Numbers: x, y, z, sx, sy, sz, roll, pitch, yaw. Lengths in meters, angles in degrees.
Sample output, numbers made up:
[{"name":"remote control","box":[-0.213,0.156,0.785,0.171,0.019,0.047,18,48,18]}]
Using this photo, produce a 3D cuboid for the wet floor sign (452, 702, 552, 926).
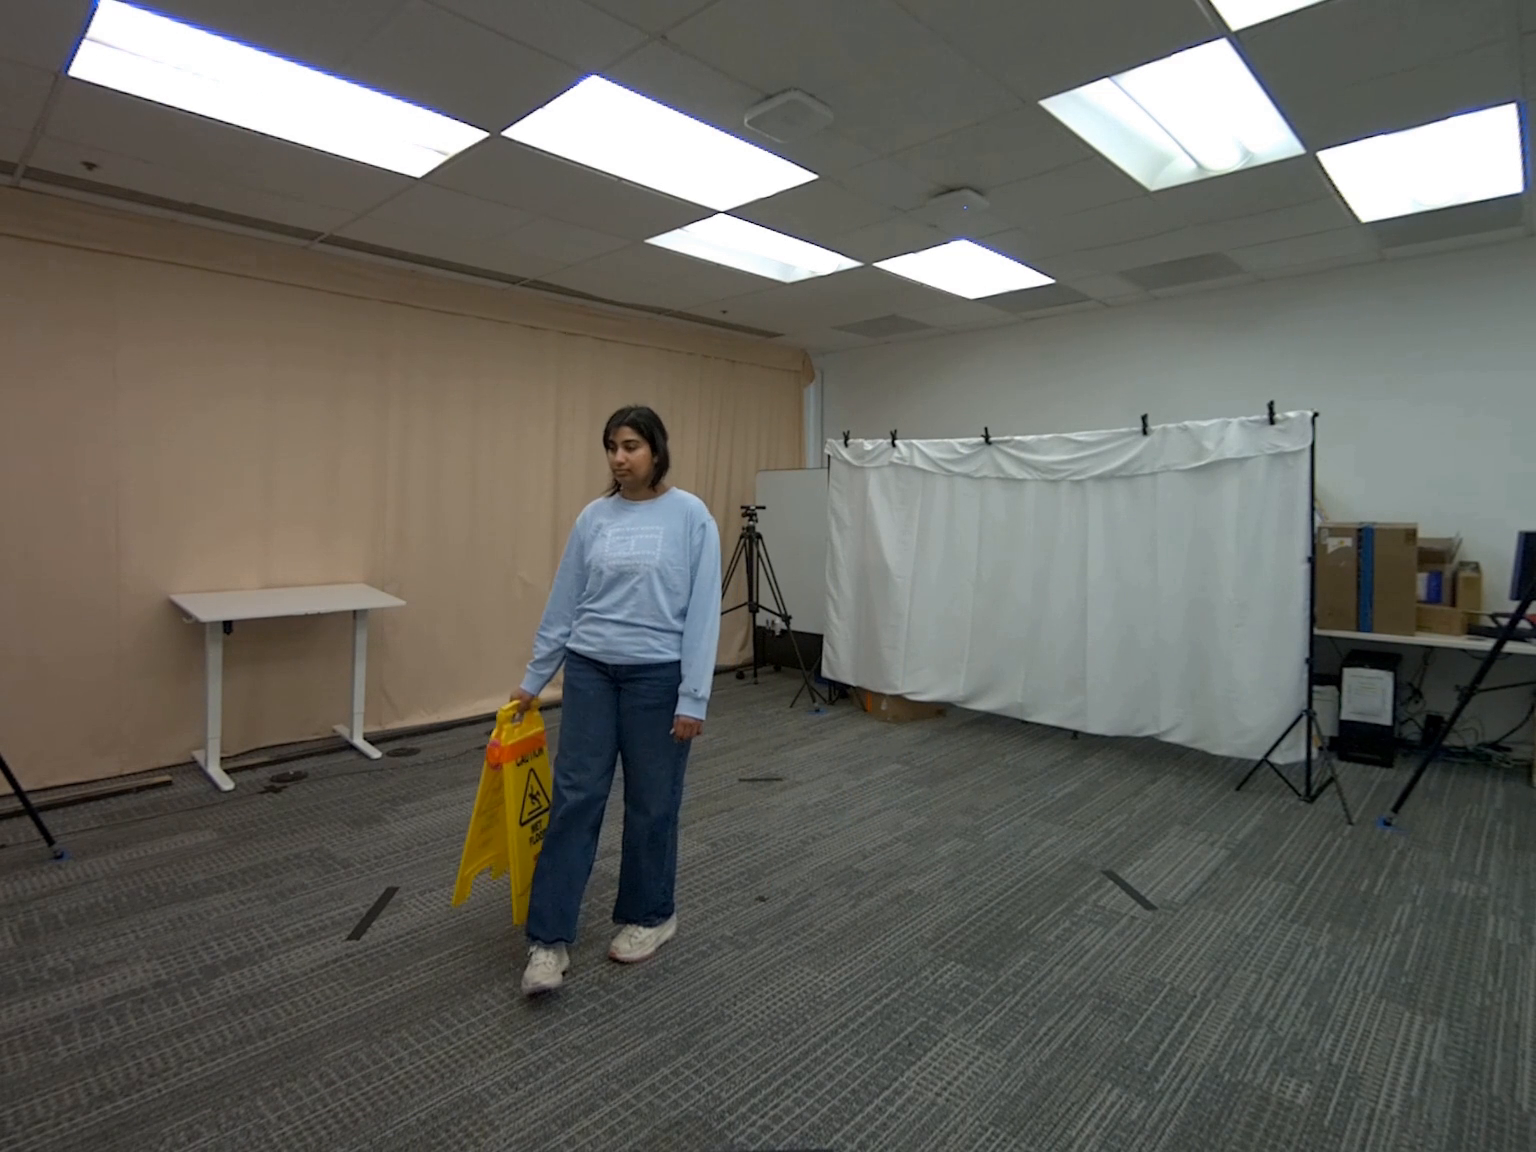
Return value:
[{"name":"wet floor sign","box":[-0.806,0.723,2.679,0.296,0.644,0.277,5,5,19]}]
